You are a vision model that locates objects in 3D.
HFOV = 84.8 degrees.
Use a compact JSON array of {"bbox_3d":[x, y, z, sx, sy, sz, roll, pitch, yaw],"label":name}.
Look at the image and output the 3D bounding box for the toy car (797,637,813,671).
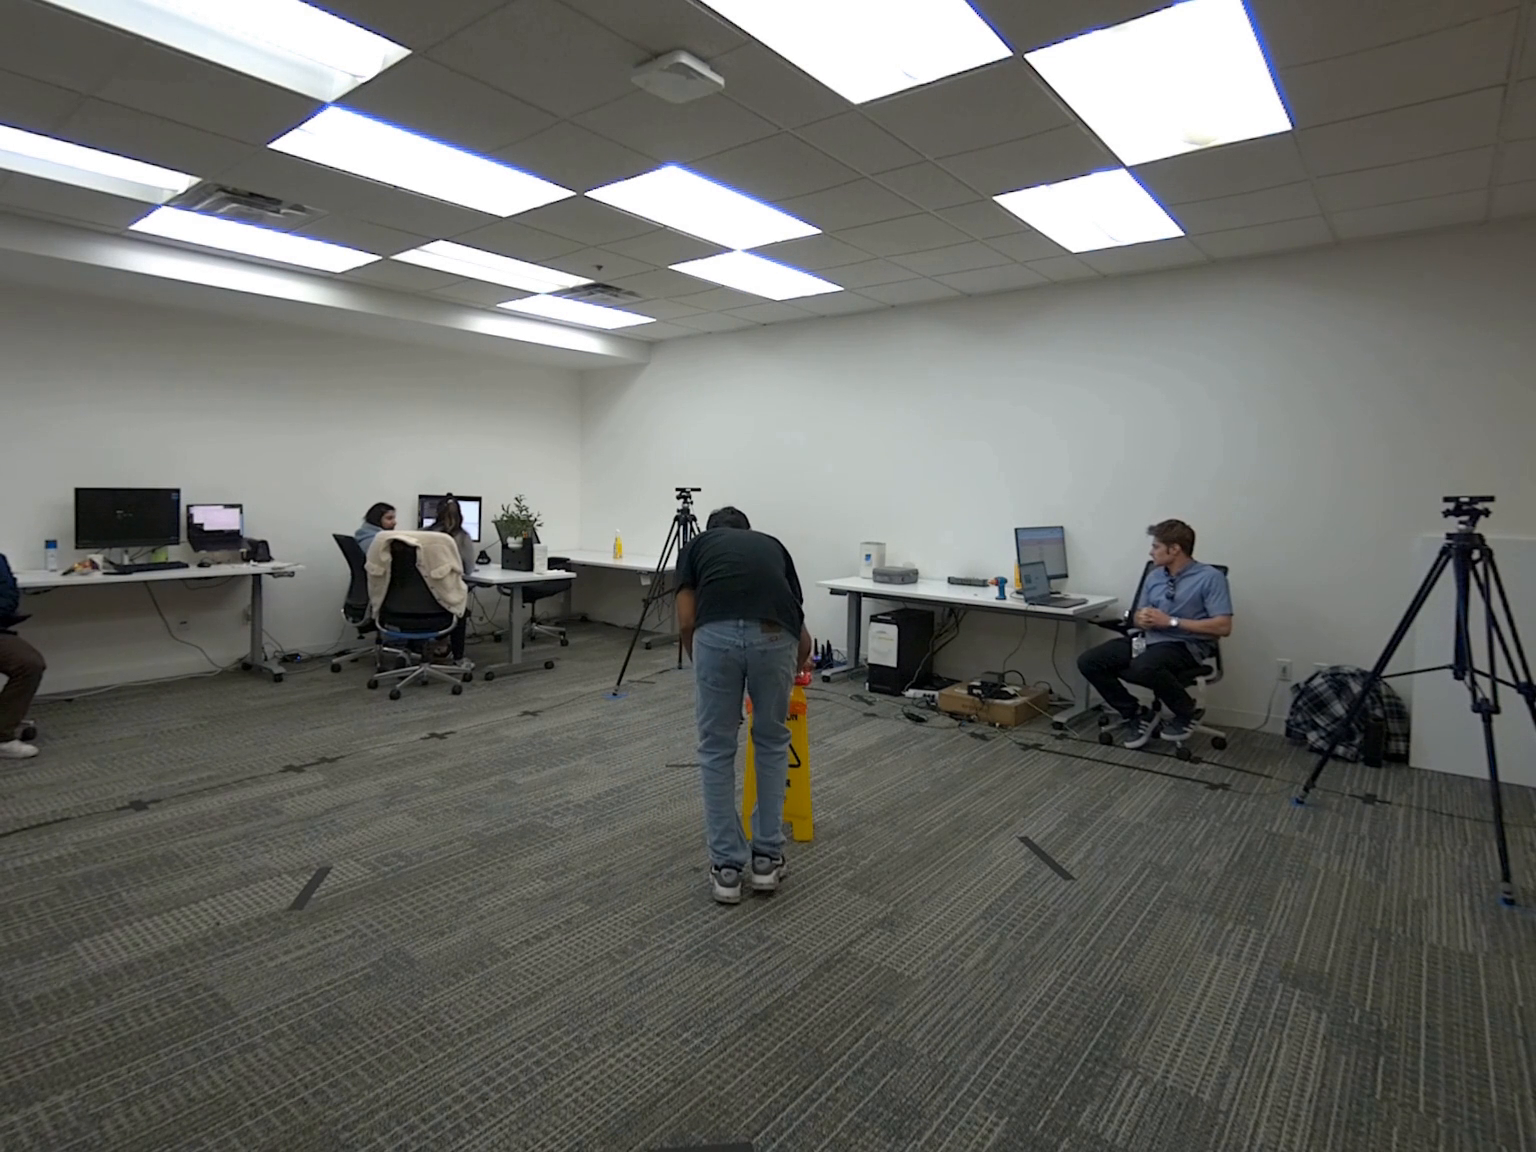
[{"bbox_3d":[0.104,0.374,3.447,0.129,0.082,0.260,4,15,-10],"label":"toy car"}]
